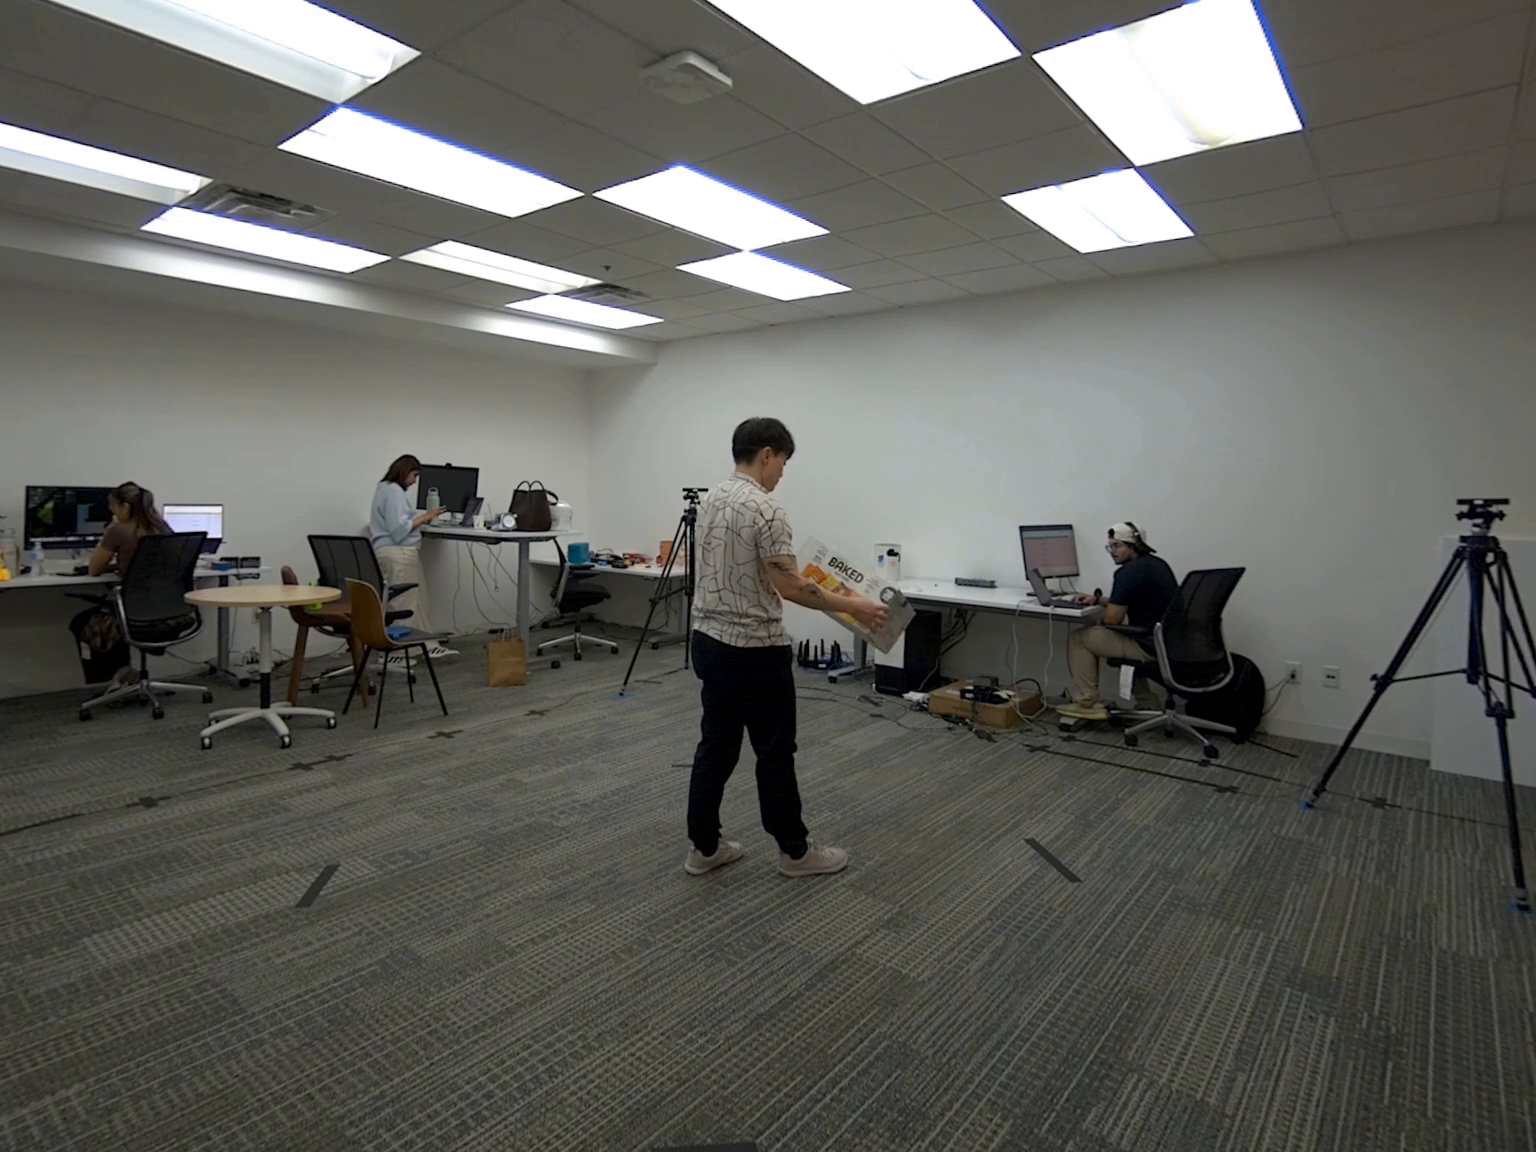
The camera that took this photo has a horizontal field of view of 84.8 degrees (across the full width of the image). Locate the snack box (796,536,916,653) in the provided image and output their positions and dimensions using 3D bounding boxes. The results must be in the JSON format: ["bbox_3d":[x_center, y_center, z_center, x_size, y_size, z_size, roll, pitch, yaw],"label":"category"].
[{"bbox_3d":[0.306,0.074,3.255,0.420,0.206,0.328,34,-4,28],"label":"snack box"}]
